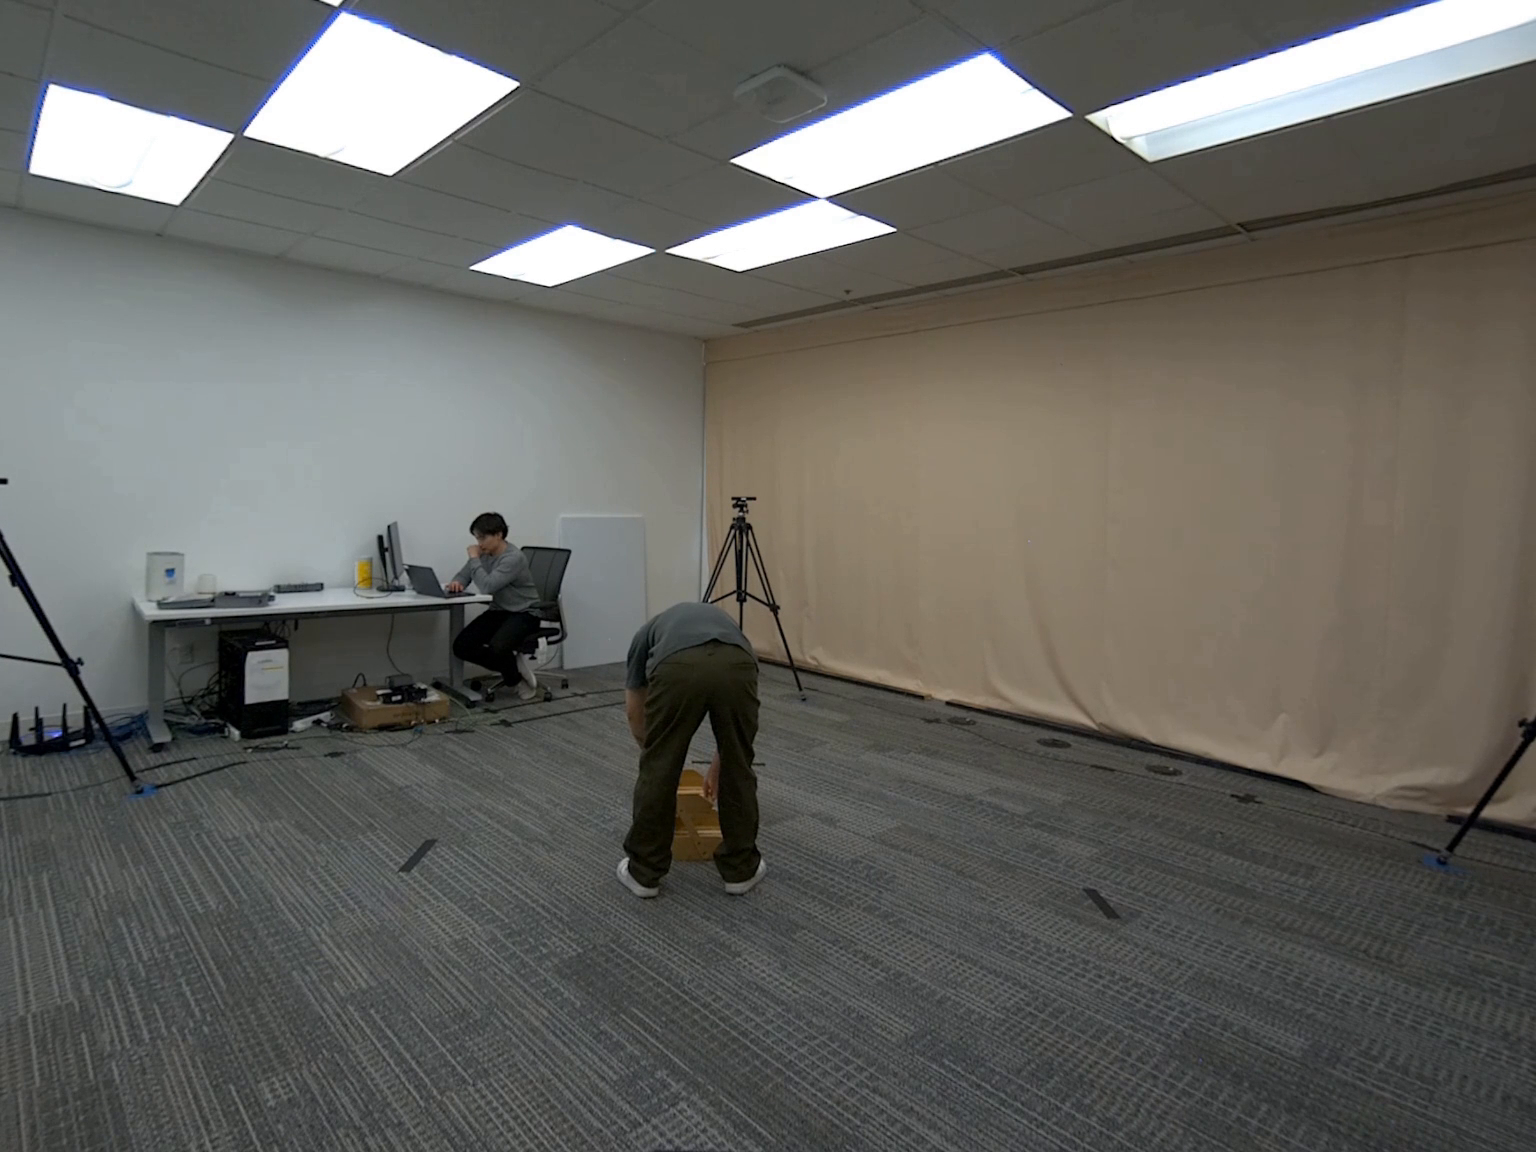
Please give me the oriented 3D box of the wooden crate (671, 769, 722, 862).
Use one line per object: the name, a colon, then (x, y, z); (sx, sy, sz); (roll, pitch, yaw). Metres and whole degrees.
wooden crate: (-0.290, 0.949, 3.382); (0.300, 0.273, 0.327); (0, 2, -8)
